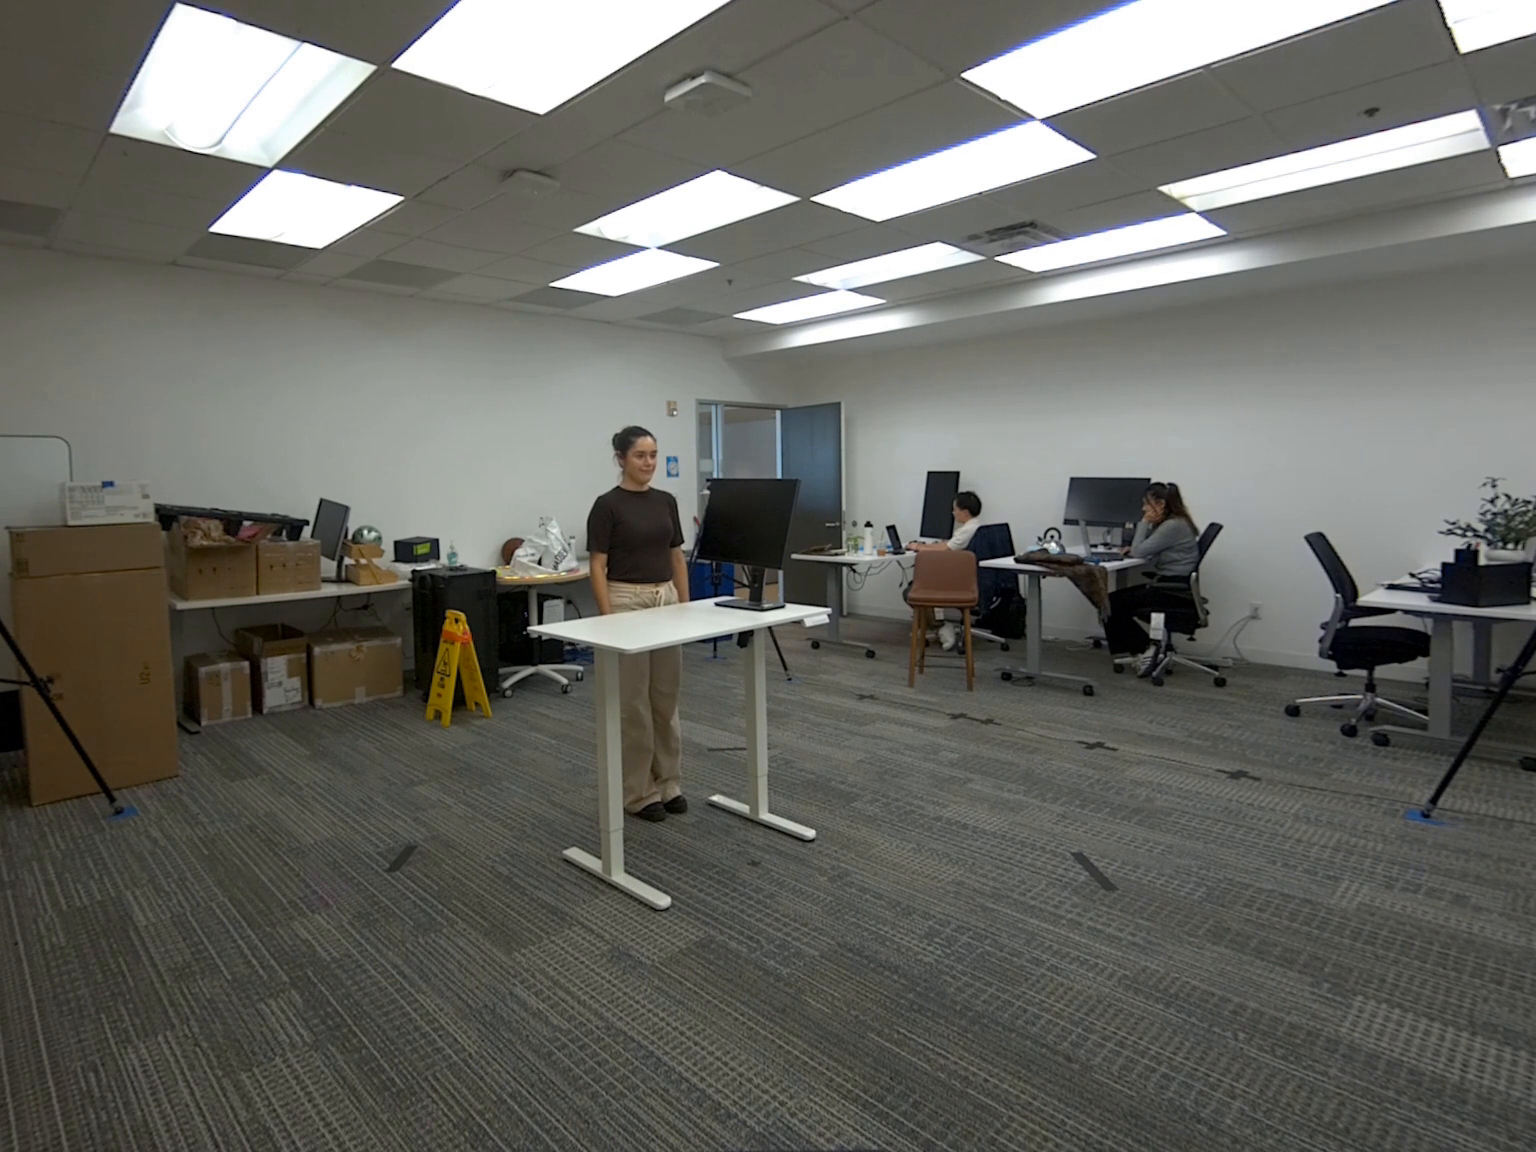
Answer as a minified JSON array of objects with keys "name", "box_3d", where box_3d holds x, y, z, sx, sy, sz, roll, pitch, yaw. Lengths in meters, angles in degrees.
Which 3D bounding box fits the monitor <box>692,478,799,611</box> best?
[{"name":"monitor","box_3d":[-0.061,-0.129,3.447,0.182,0.521,0.555,-2,4,-41]}]
